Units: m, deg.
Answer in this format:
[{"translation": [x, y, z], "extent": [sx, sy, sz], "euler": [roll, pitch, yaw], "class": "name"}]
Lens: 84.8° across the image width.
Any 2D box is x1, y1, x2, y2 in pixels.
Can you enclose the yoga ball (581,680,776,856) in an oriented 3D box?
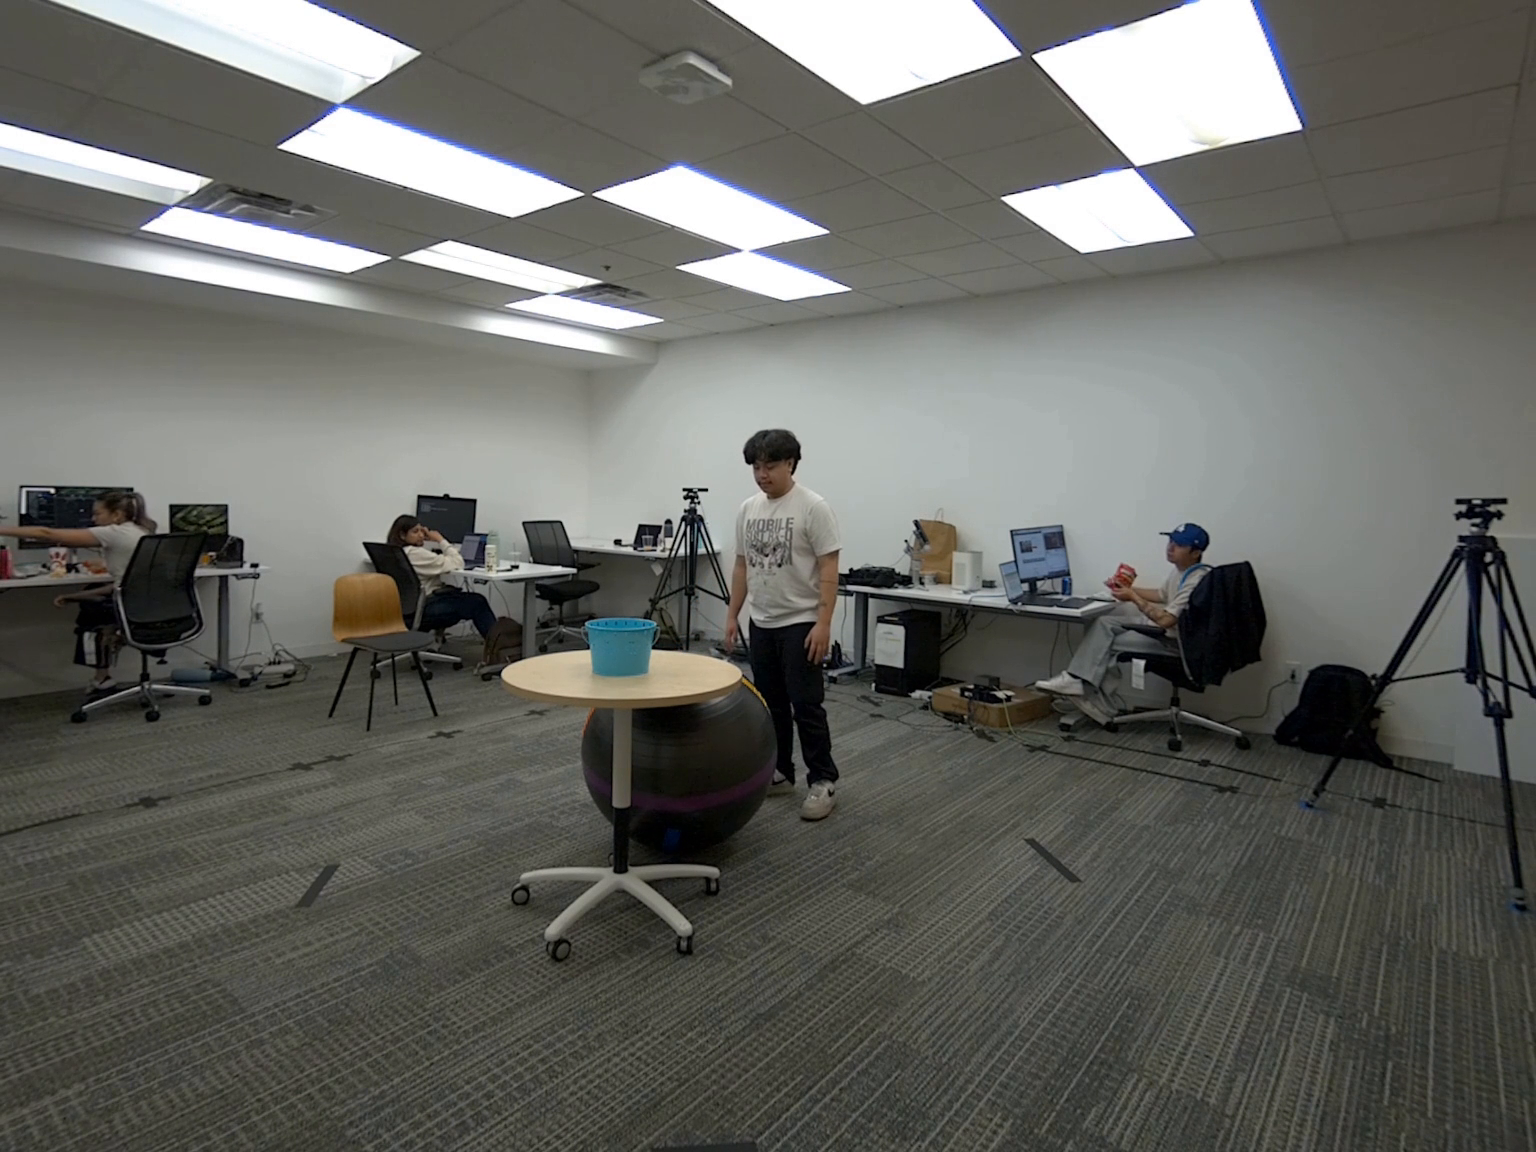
[{"translation": [-0.356, 0.678, 3.329], "extent": [0.757, 0.755, 0.762], "euler": [1, 4, -2], "class": "yoga ball"}]
